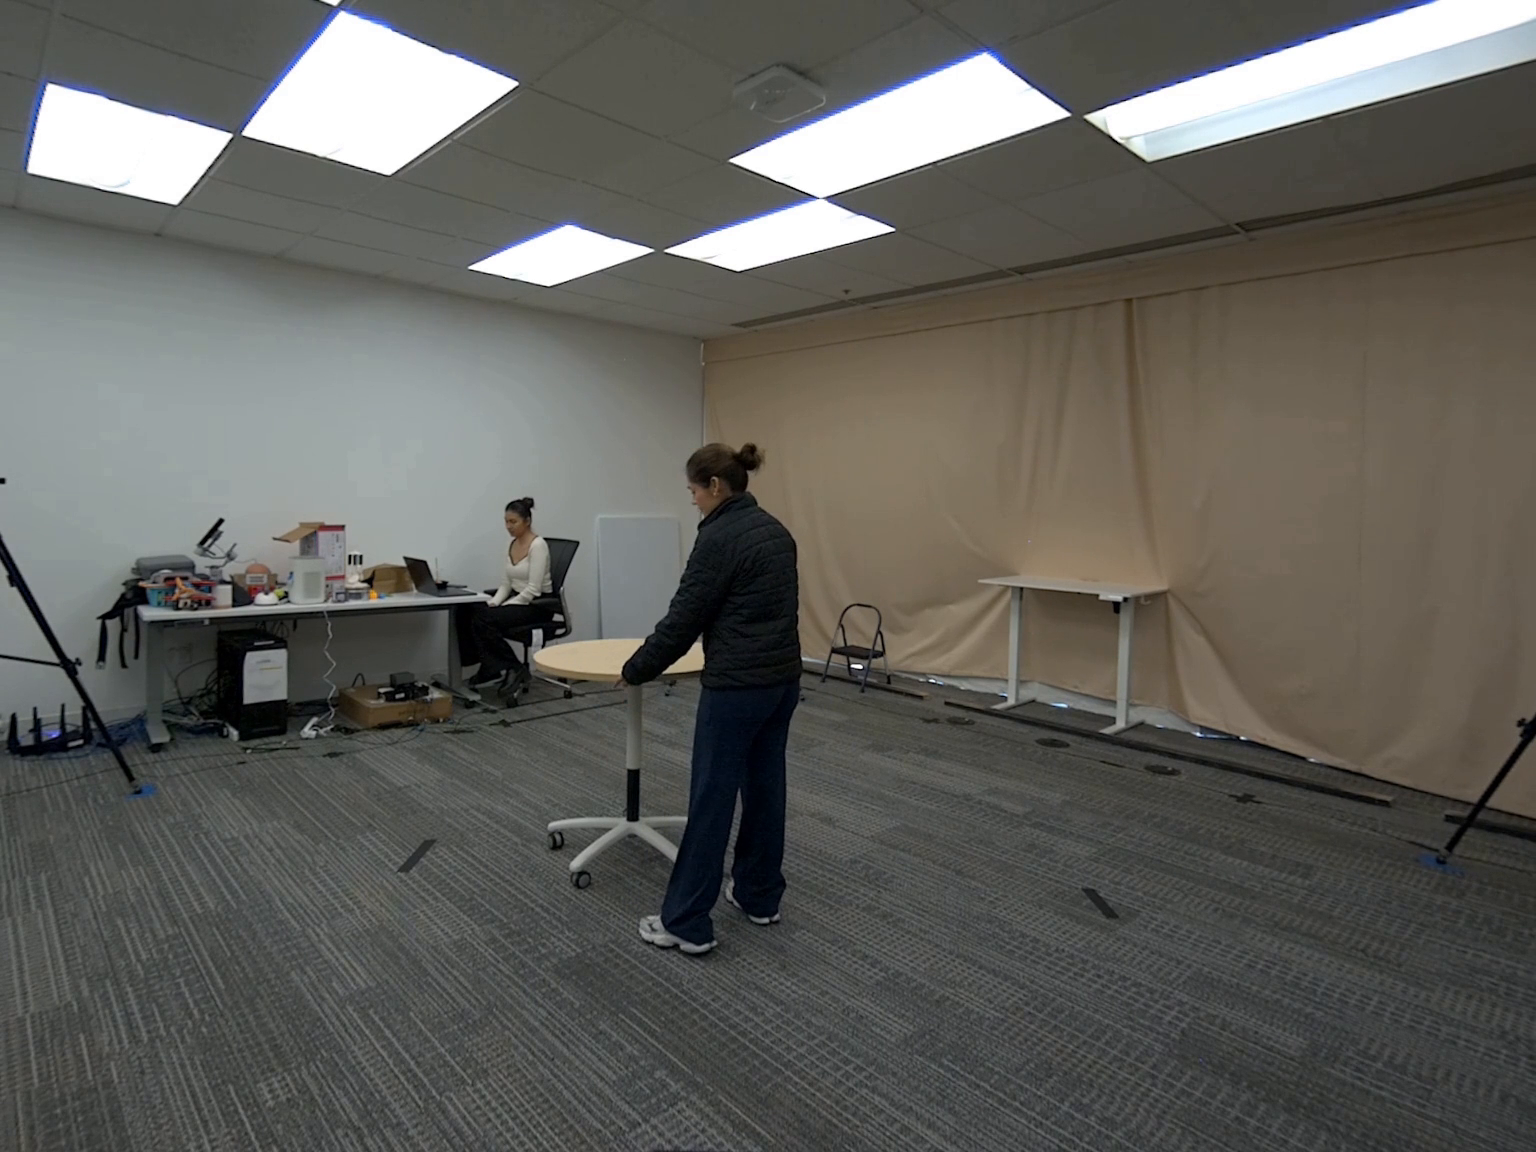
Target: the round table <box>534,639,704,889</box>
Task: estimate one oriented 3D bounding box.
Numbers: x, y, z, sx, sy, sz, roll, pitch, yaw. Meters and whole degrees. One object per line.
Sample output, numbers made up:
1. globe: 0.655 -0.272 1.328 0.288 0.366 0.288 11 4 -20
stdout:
1. round table: -0.513 0.693 3.215 0.784 0.785 0.787 1 4 -1
